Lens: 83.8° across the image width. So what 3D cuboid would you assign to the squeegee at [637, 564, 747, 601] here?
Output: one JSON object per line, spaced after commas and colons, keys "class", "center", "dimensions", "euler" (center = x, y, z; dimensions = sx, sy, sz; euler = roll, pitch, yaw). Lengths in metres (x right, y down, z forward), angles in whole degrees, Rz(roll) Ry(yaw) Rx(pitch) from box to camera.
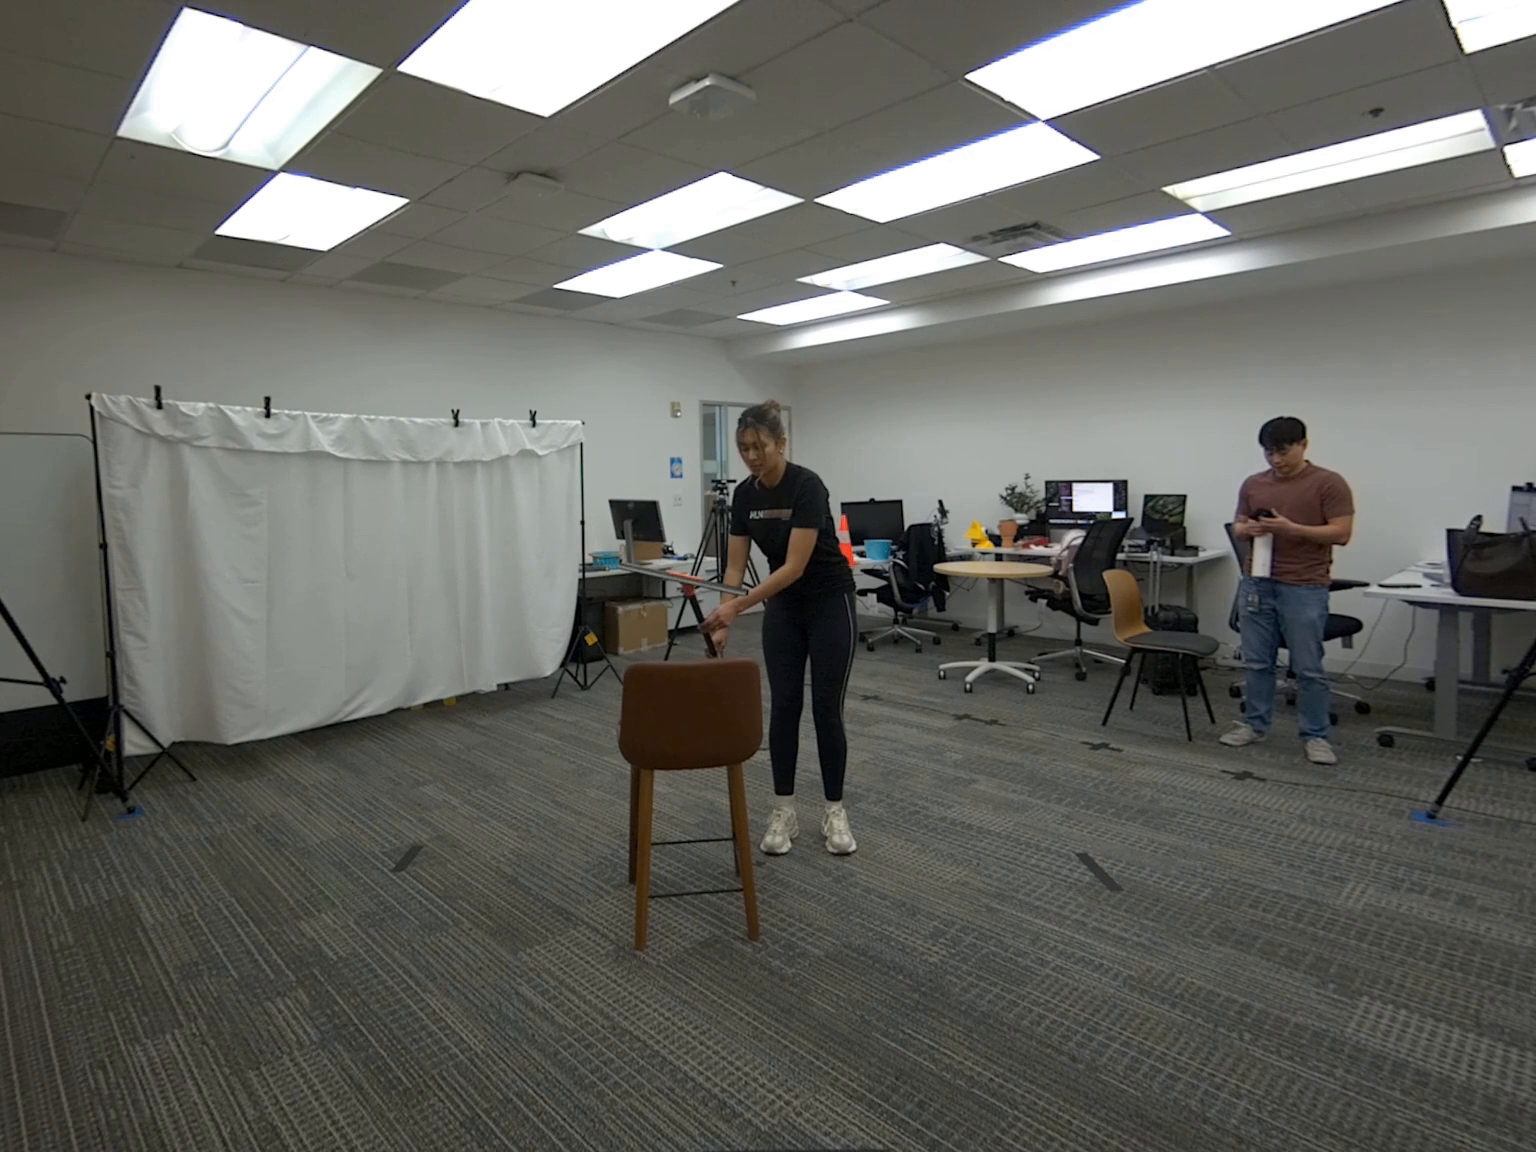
{"class": "squeegee", "center": [-0.185, 0.374, 3.324], "dimensions": [0.447, 0.053, 1.491], "euler": [19, -25, 18]}
